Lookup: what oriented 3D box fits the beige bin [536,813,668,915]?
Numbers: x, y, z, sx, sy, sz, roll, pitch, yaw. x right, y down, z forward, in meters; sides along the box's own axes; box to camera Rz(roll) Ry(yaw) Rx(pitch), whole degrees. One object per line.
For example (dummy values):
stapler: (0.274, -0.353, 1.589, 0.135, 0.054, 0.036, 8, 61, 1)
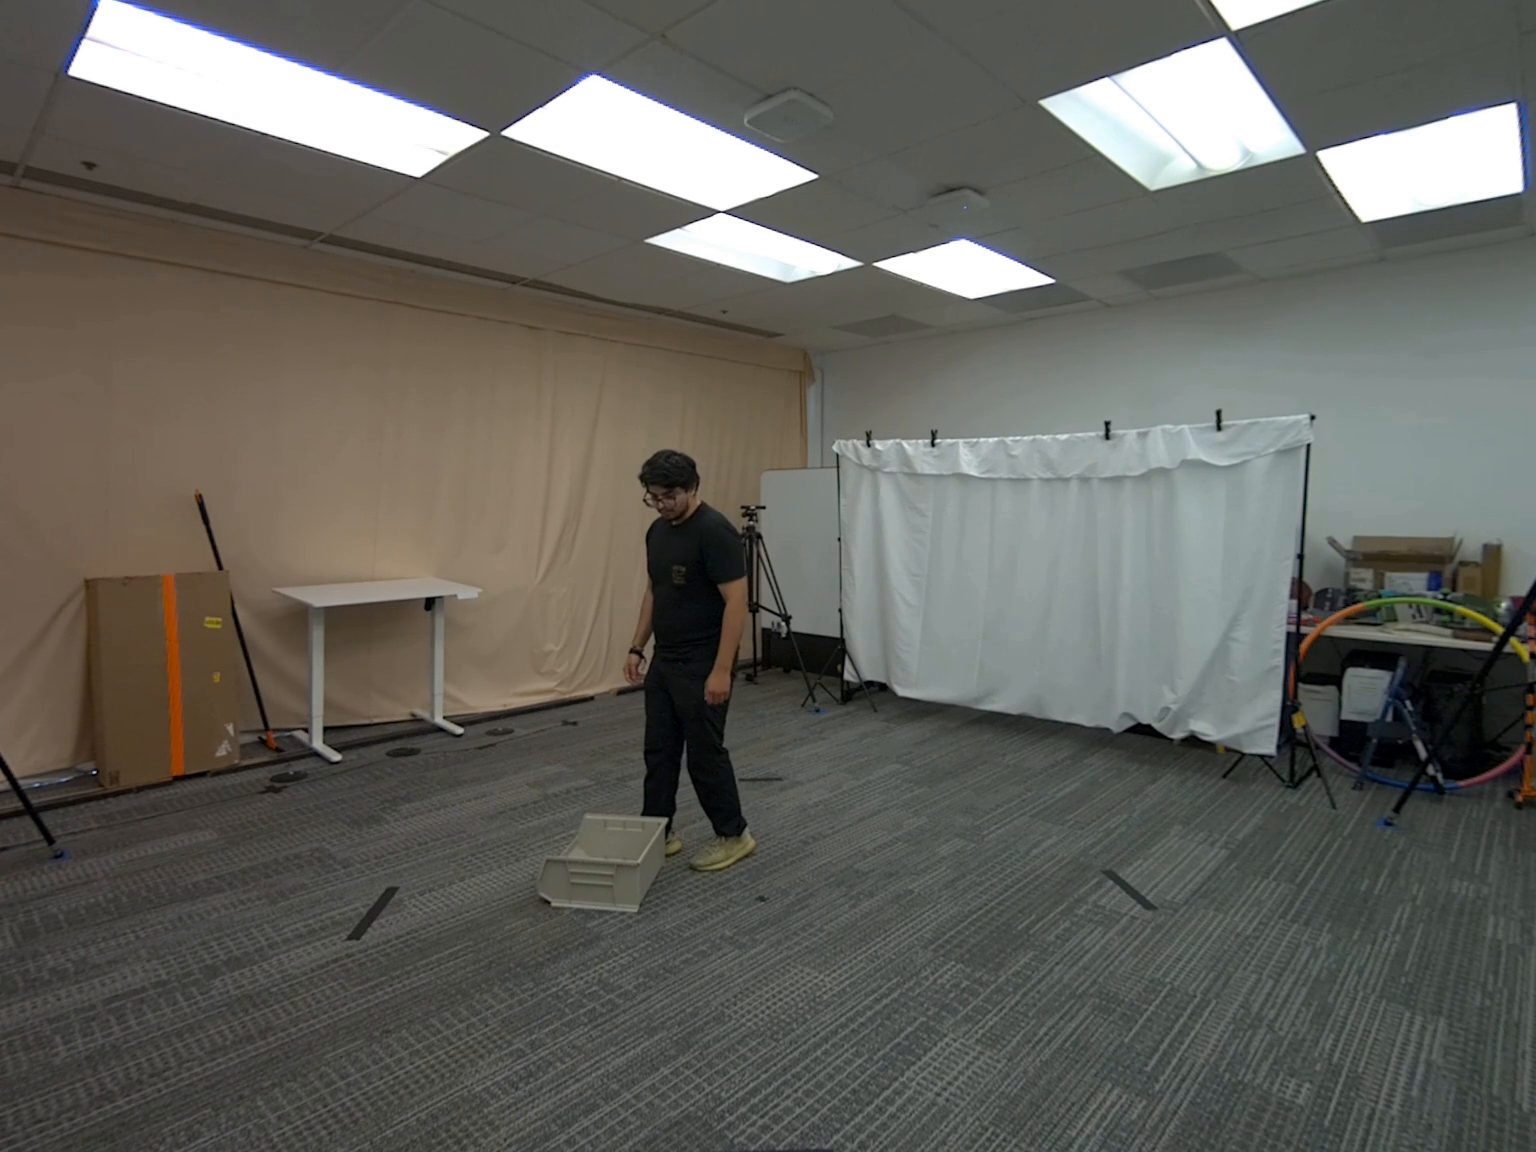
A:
beige bin: (-0.605, 1.050, 3.114, 0.381, 0.188, 0.419, 1, 4, 9)
